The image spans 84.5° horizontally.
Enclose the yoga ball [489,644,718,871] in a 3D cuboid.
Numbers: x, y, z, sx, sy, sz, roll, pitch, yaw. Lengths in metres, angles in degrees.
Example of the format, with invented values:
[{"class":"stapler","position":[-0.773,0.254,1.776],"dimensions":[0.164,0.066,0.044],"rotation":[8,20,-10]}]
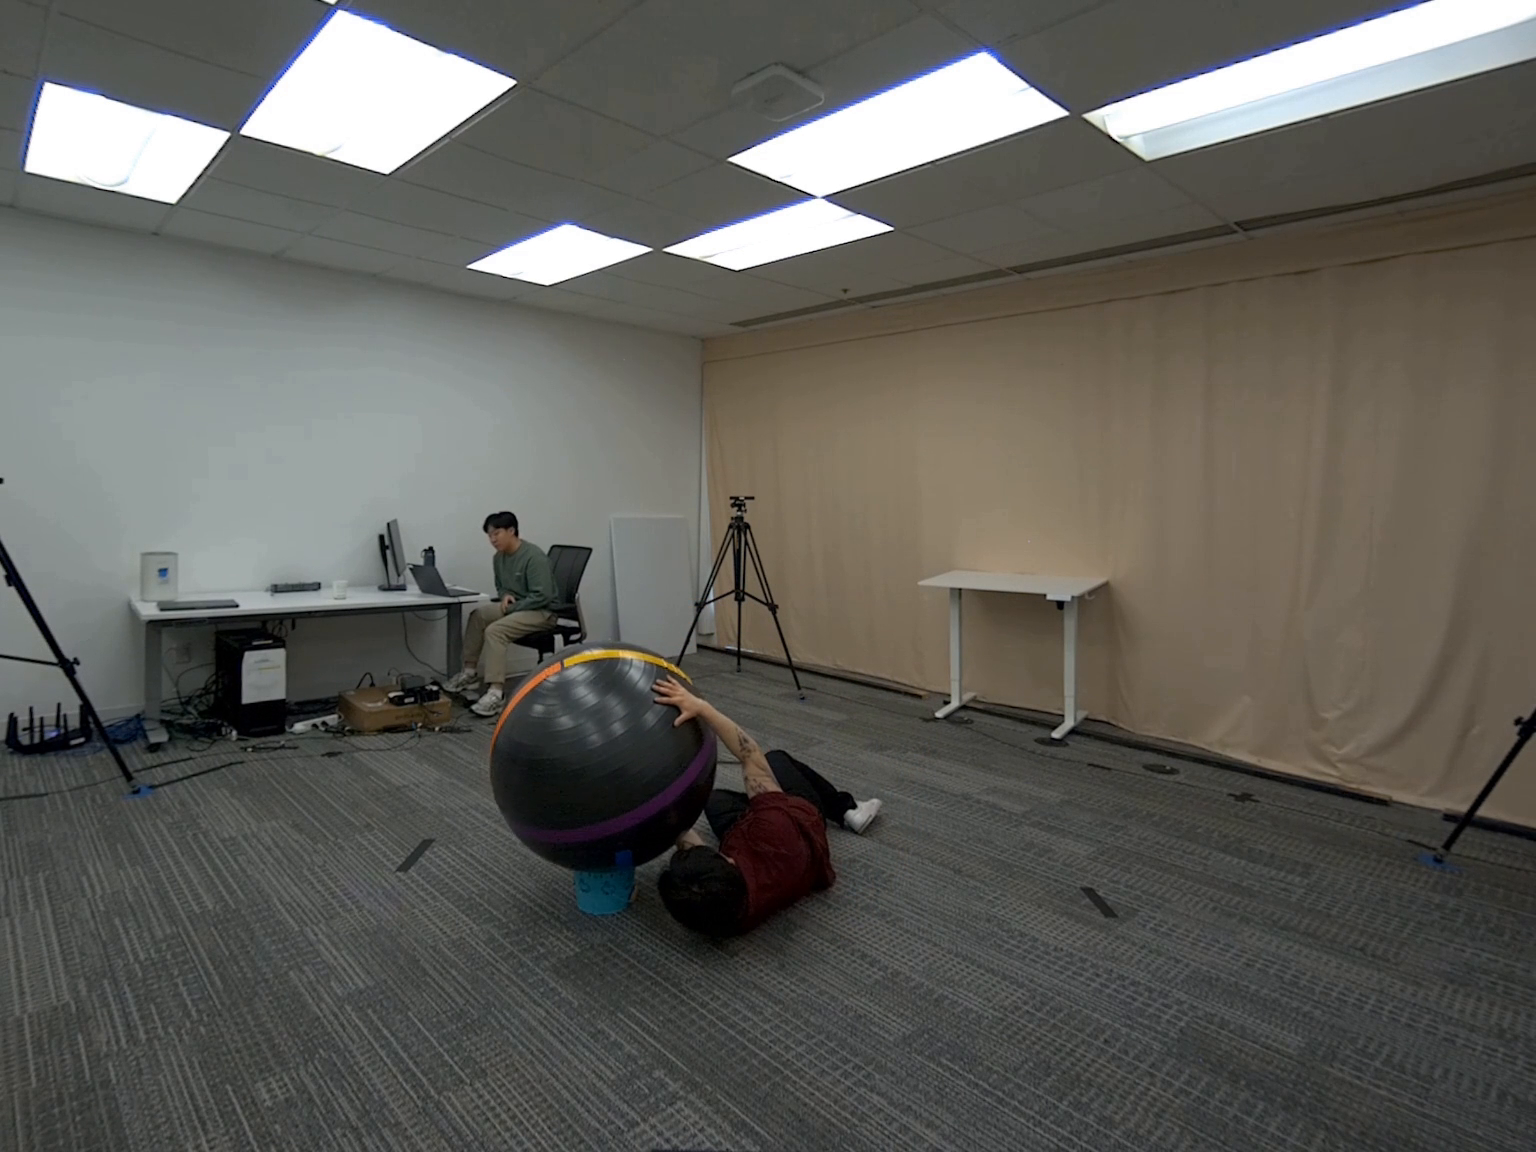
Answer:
[{"class":"yoga ball","position":[-0.564,0.610,2.855],"dimensions":[0.757,0.756,0.761],"rotation":[1,4,-1]}]
